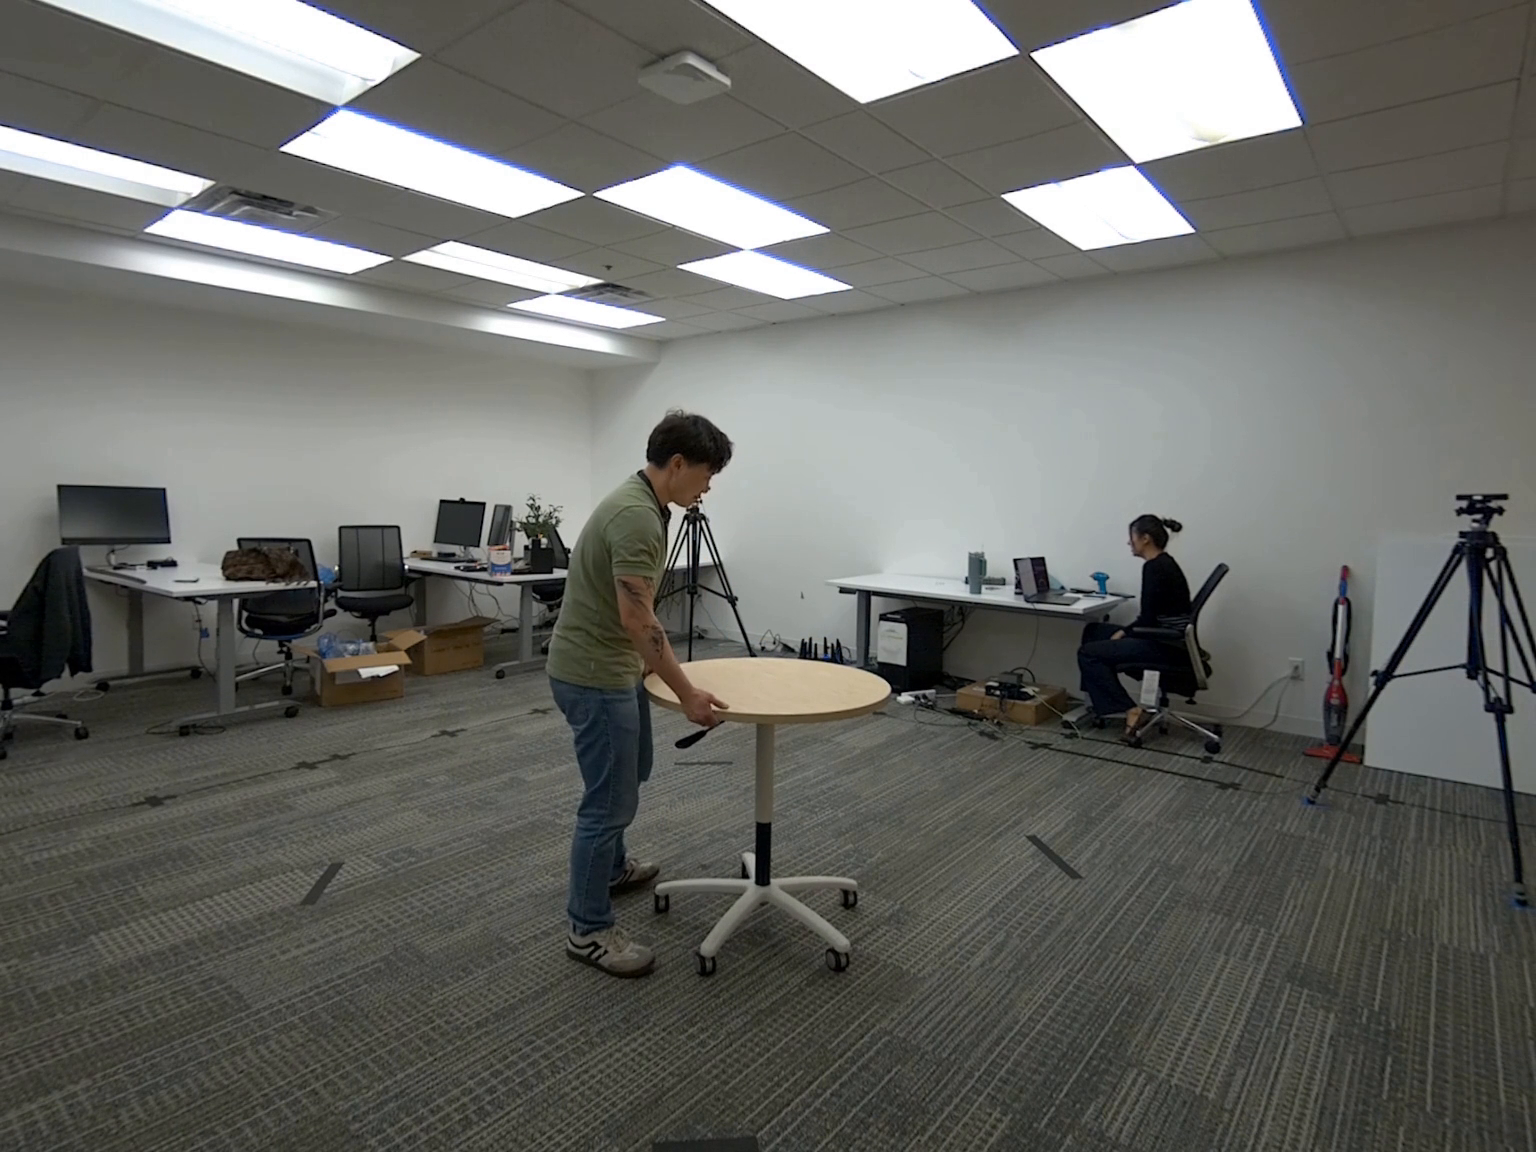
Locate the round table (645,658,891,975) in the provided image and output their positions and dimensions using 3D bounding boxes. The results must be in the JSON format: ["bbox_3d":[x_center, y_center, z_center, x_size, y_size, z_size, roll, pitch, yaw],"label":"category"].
[{"bbox_3d":[-0.014,0.724,2.681,0.763,0.791,0.768,1,5,-2],"label":"round table"}]
